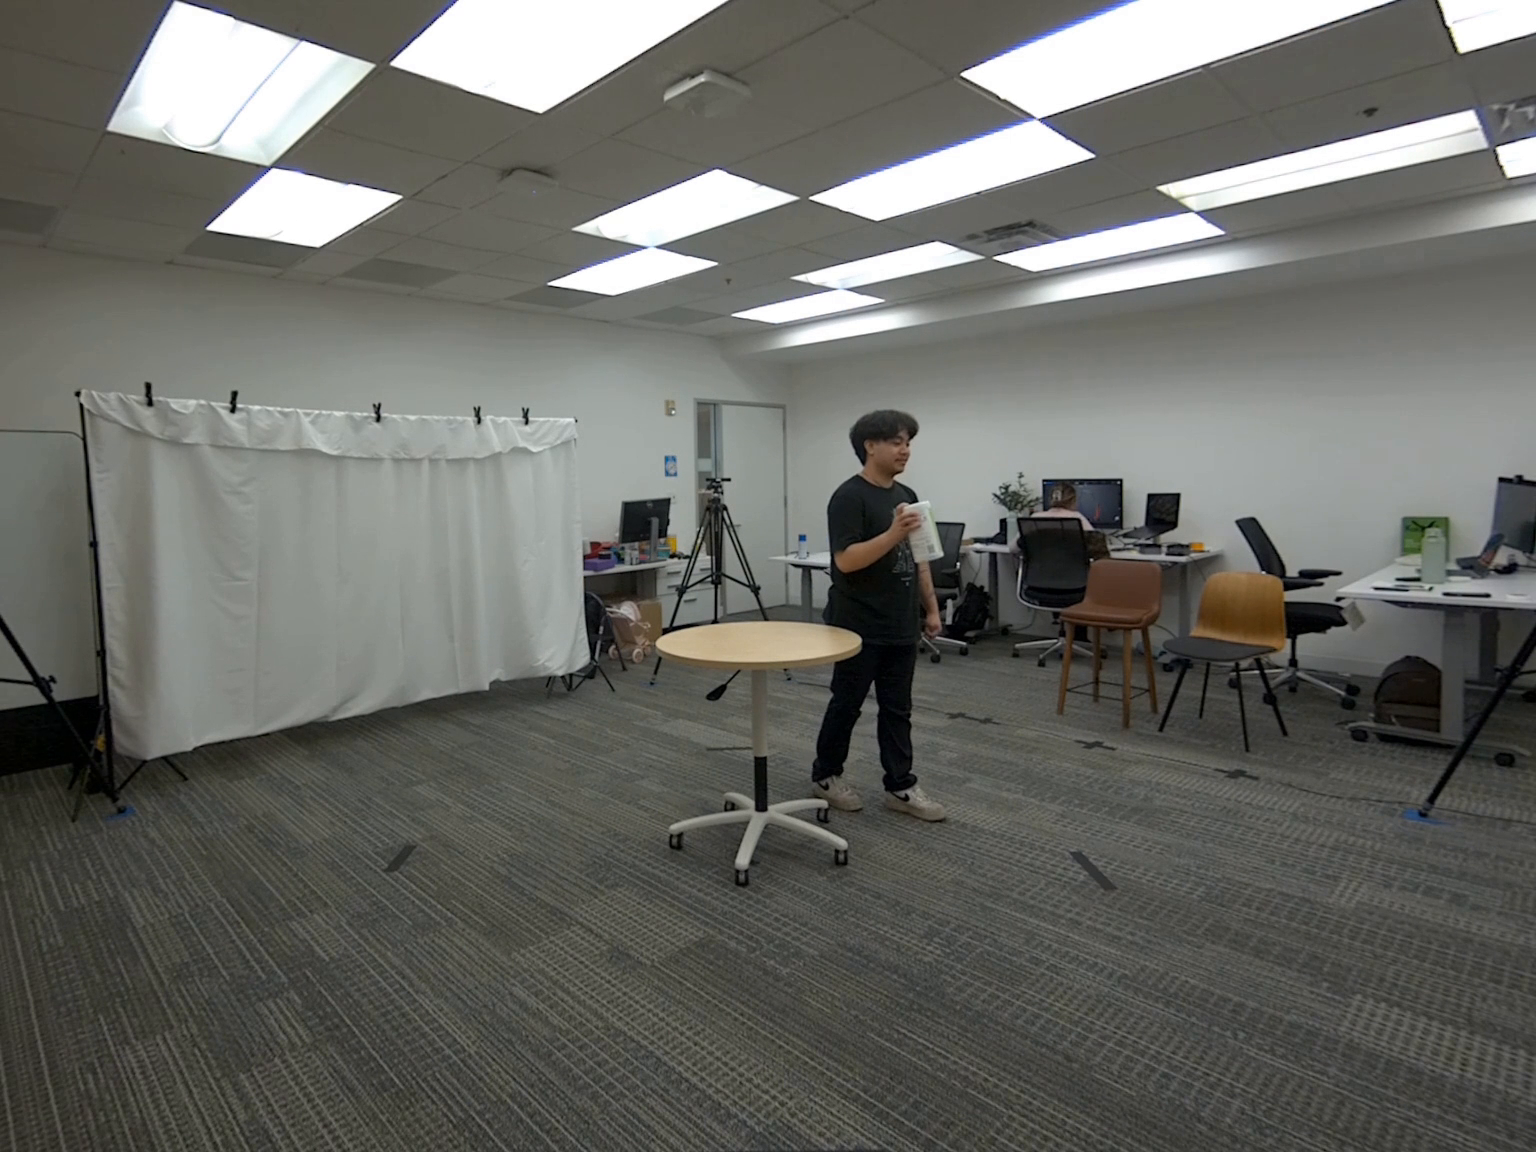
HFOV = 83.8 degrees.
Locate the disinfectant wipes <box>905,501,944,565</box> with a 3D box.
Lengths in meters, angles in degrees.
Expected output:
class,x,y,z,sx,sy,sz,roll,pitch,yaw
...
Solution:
class,x,y,z,sx,sy,sz,roll,pitch,yaw
disinfectant wipes,0.561,-0.160,3.164,0.118,0.217,0.118,-14,2,-1
